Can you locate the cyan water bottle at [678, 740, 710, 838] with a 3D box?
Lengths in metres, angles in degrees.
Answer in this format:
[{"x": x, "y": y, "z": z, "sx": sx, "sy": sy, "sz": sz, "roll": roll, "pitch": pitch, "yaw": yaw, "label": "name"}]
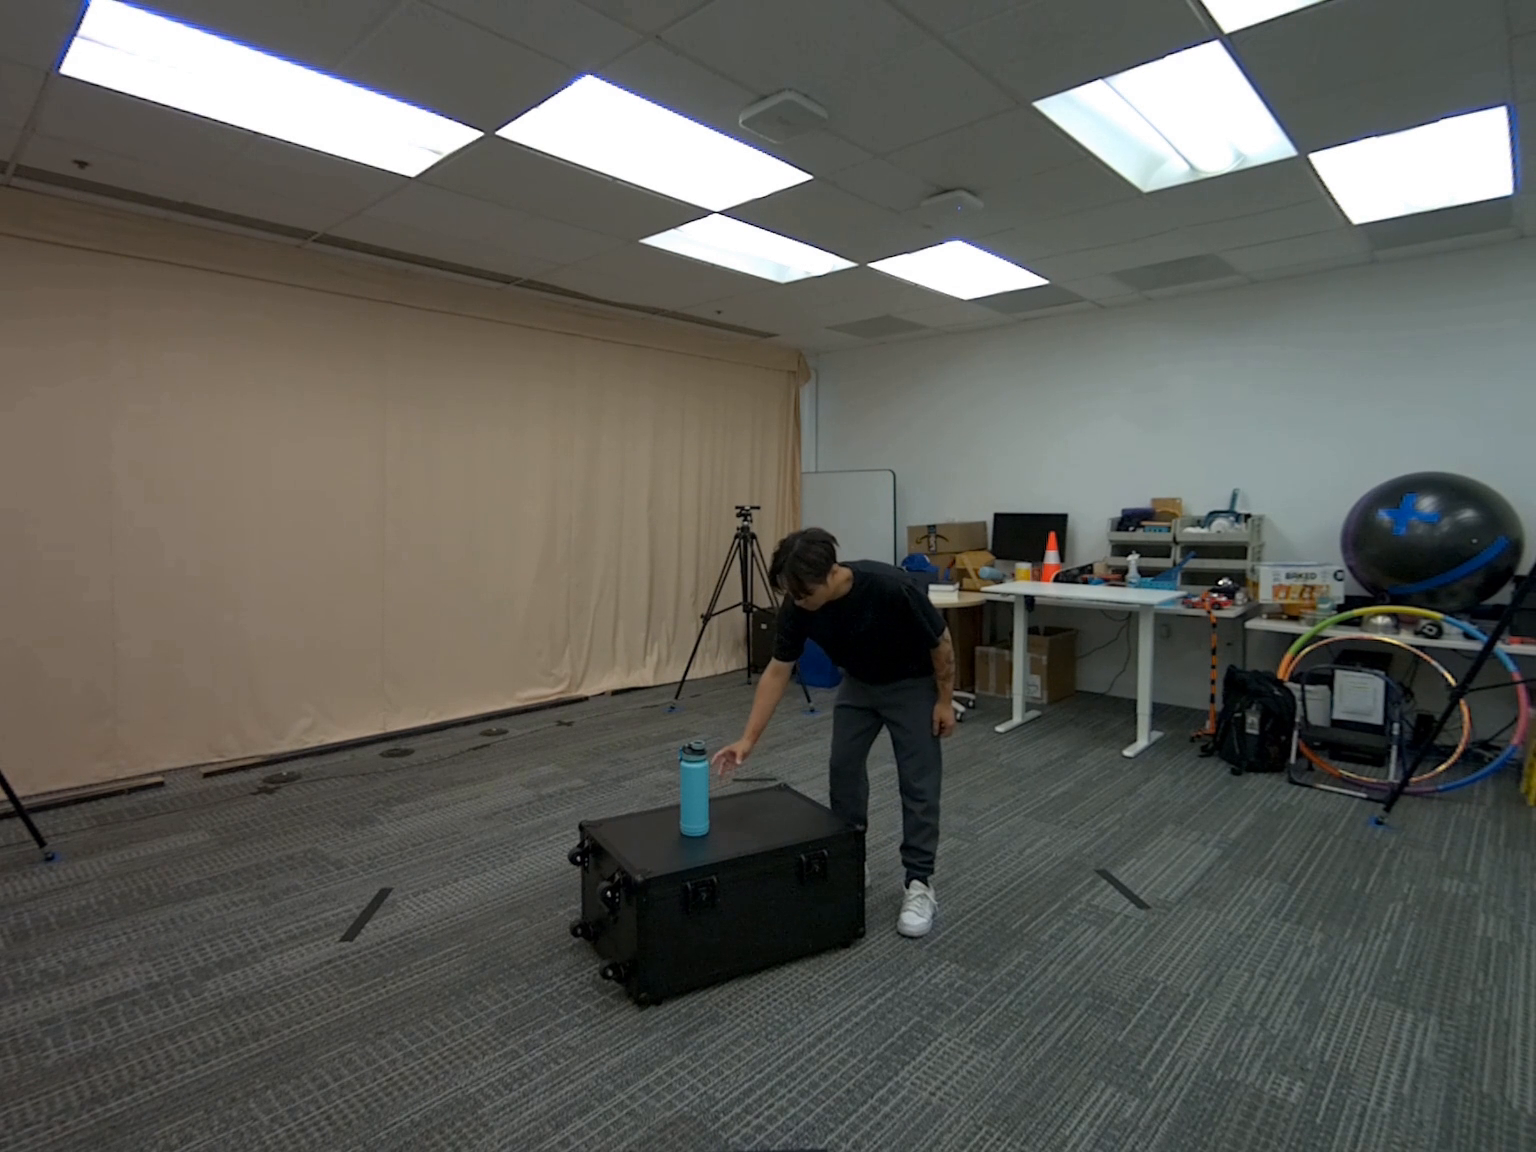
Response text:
[{"x": -0.228, "y": 0.662, "z": 2.634, "sx": 0.092, "sy": 0.283, "sz": 0.092, "roll": -2, "pitch": 3, "yaw": -2, "label": "cyan water bottle"}]
